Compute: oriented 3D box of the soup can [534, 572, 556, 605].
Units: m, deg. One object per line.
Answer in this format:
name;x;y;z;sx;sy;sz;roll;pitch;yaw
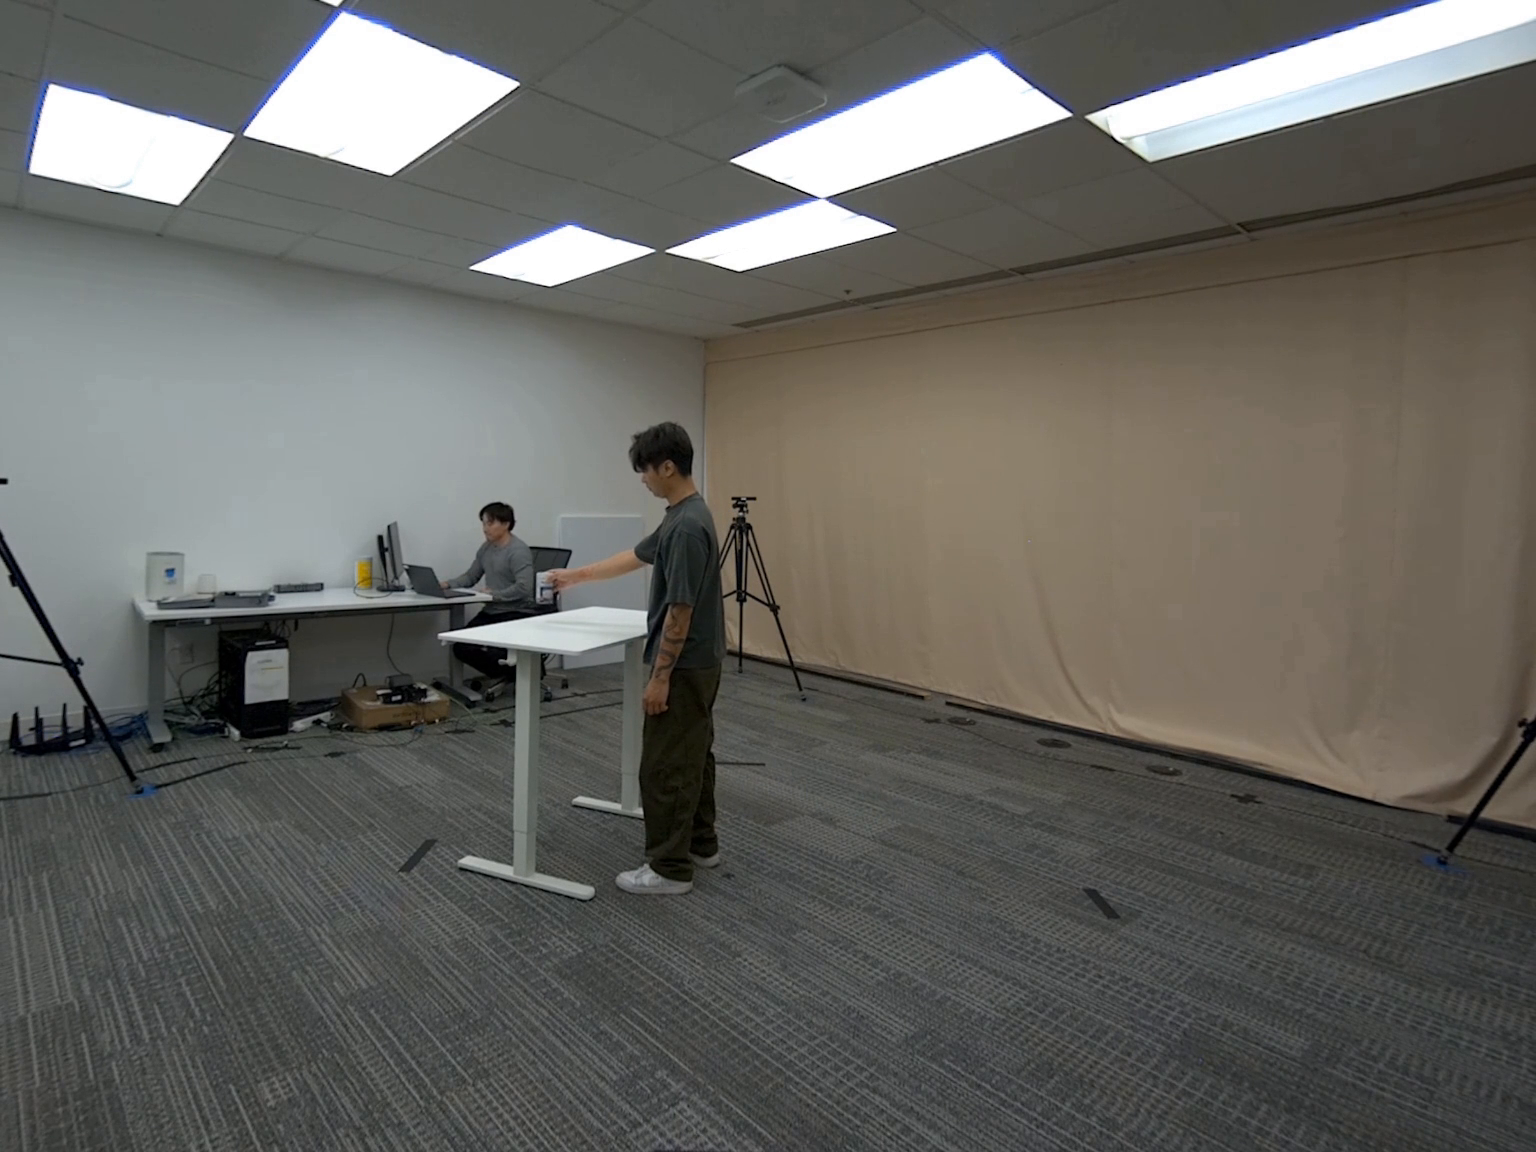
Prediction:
soup can;-0.893;0.048;3.349;0.067;0.121;0.067;2;4;-1
